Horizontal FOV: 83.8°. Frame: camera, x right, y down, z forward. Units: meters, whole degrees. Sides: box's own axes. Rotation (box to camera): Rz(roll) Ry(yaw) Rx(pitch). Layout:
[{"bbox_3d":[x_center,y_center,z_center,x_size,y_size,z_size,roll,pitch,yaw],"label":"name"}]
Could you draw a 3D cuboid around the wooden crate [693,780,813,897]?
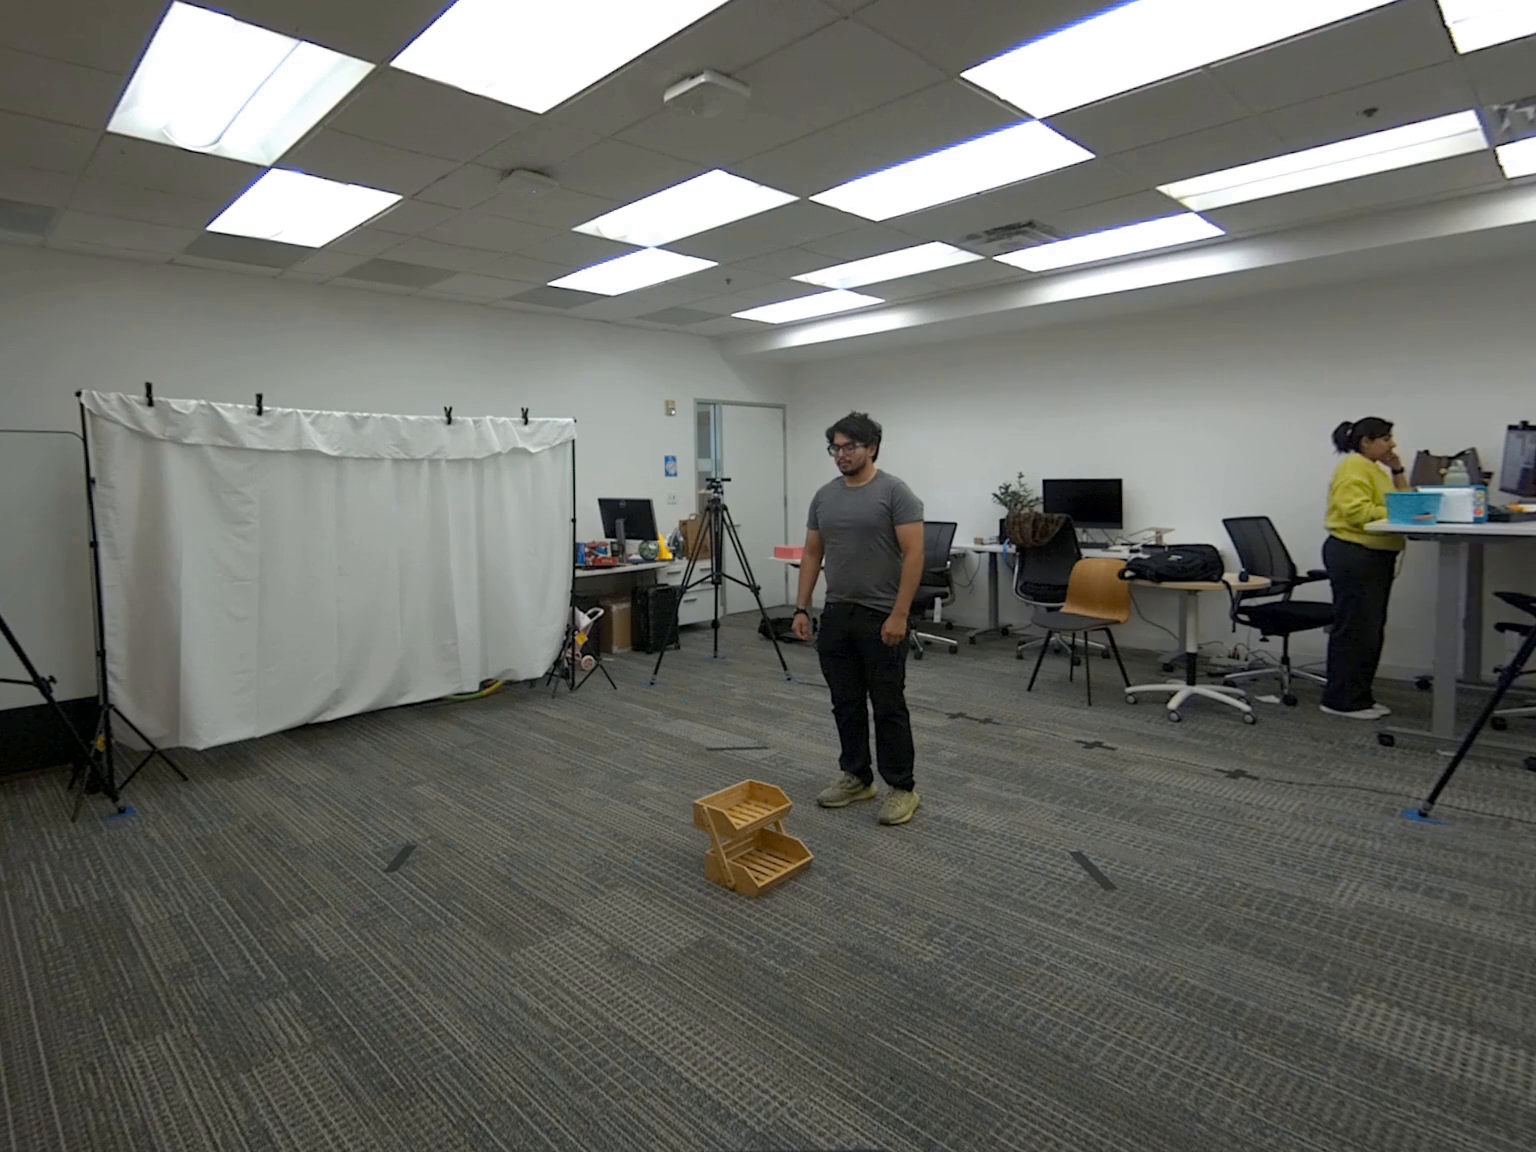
[{"bbox_3d":[-0.045,0.917,3.030,0.311,0.272,0.316,3,7,42],"label":"wooden crate"}]
